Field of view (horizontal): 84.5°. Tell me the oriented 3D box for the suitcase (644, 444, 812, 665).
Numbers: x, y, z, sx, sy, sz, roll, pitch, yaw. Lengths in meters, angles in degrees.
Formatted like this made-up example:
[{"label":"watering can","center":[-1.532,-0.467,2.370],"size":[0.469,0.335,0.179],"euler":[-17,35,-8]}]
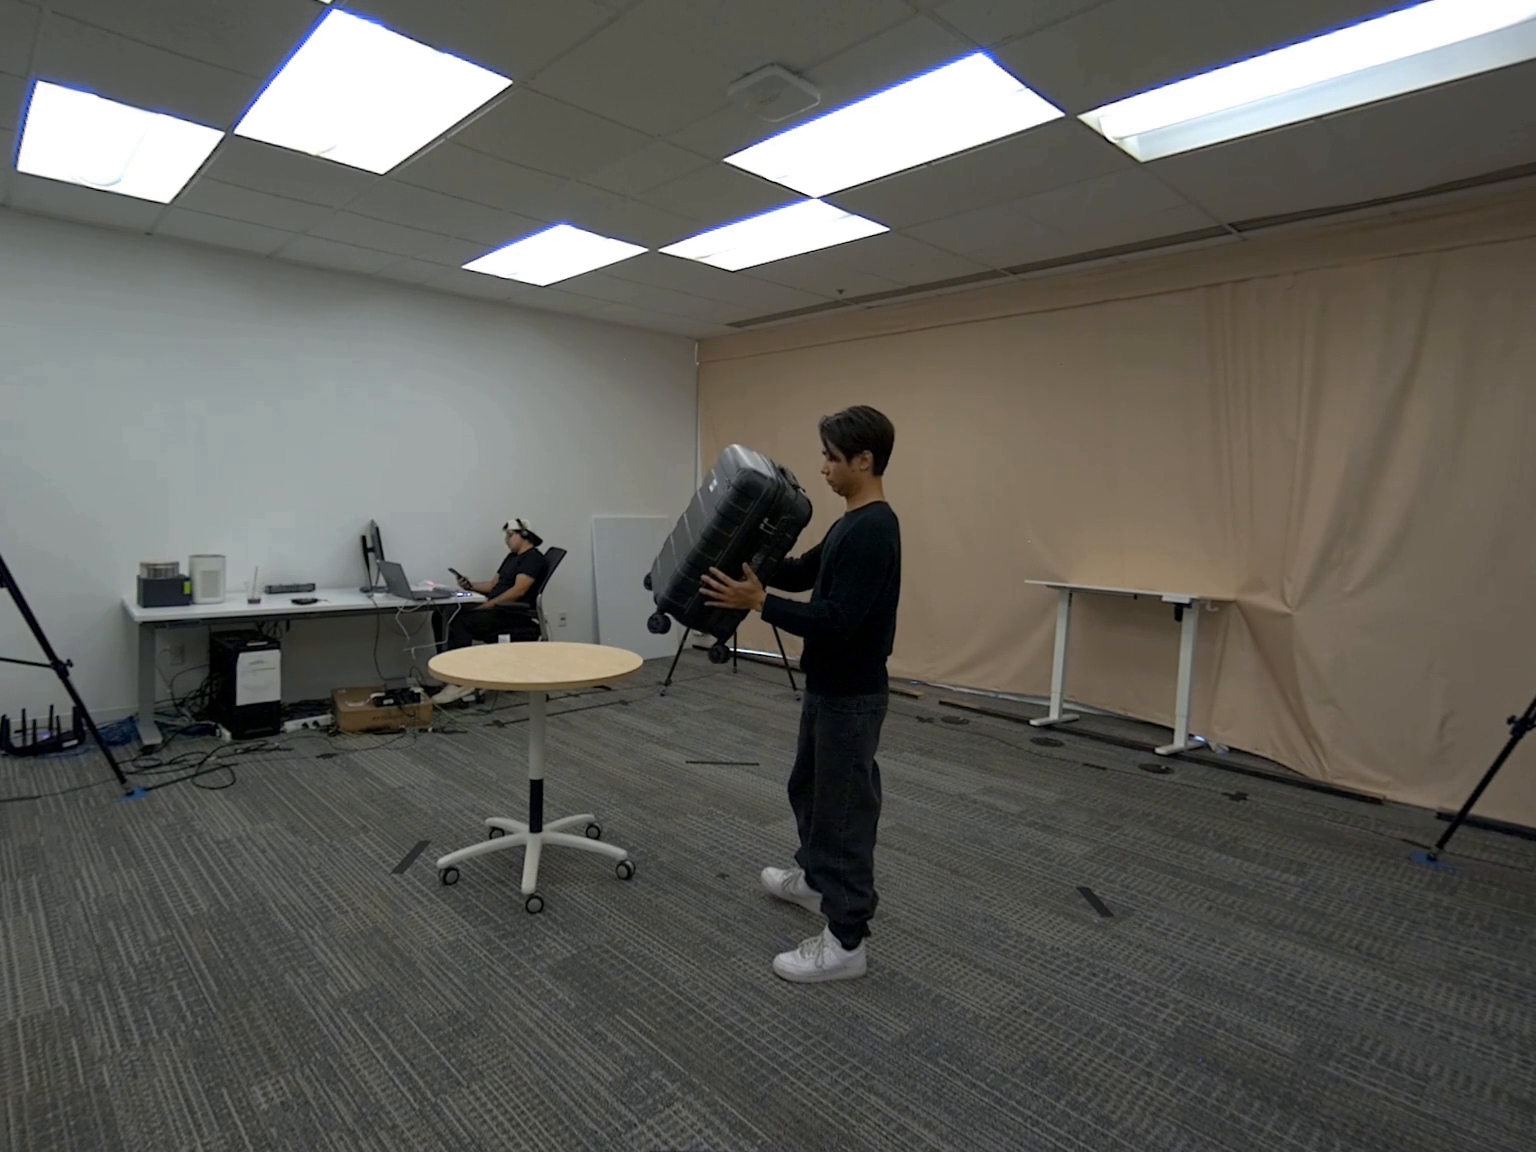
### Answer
[{"label":"suitcase","center":[-0.119,-0.089,2.455],"size":[0.243,0.548,0.384],"euler":[27,16,-20]}]
